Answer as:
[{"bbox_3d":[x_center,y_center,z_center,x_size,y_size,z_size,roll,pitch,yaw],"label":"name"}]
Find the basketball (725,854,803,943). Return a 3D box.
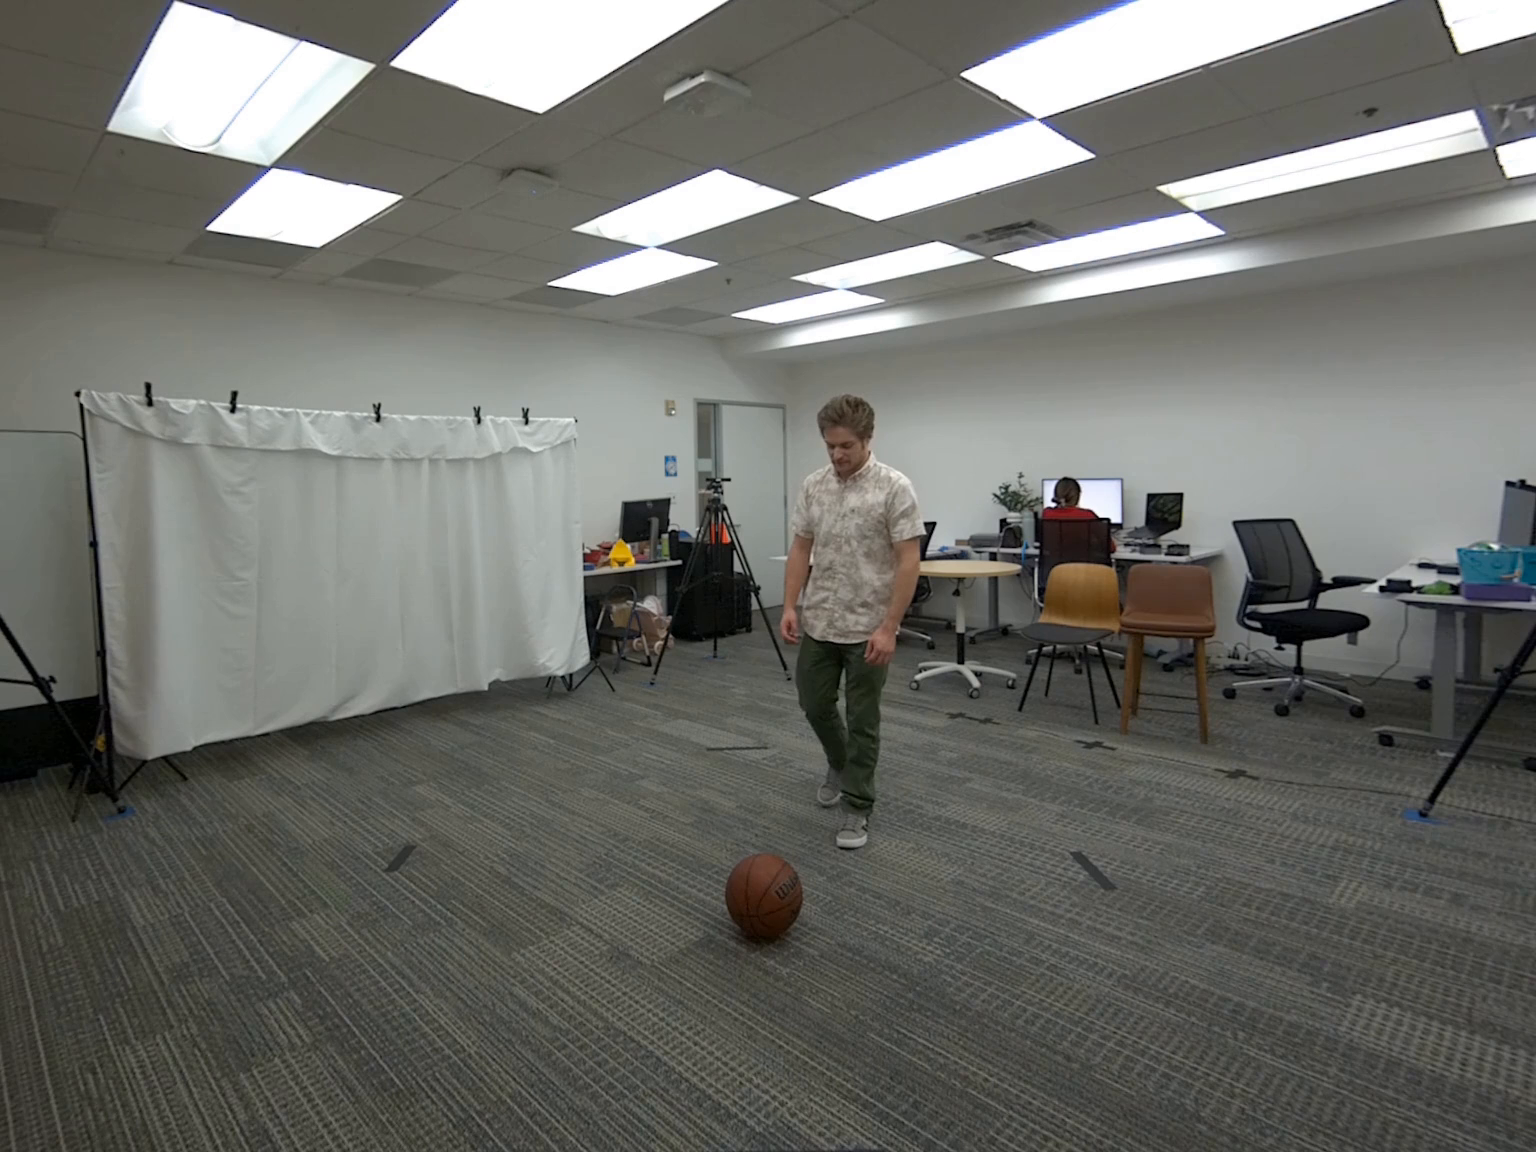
[{"bbox_3d":[-0.010,0.974,2.629,0.236,0.235,0.237,-1,5,-2],"label":"basketball"}]
